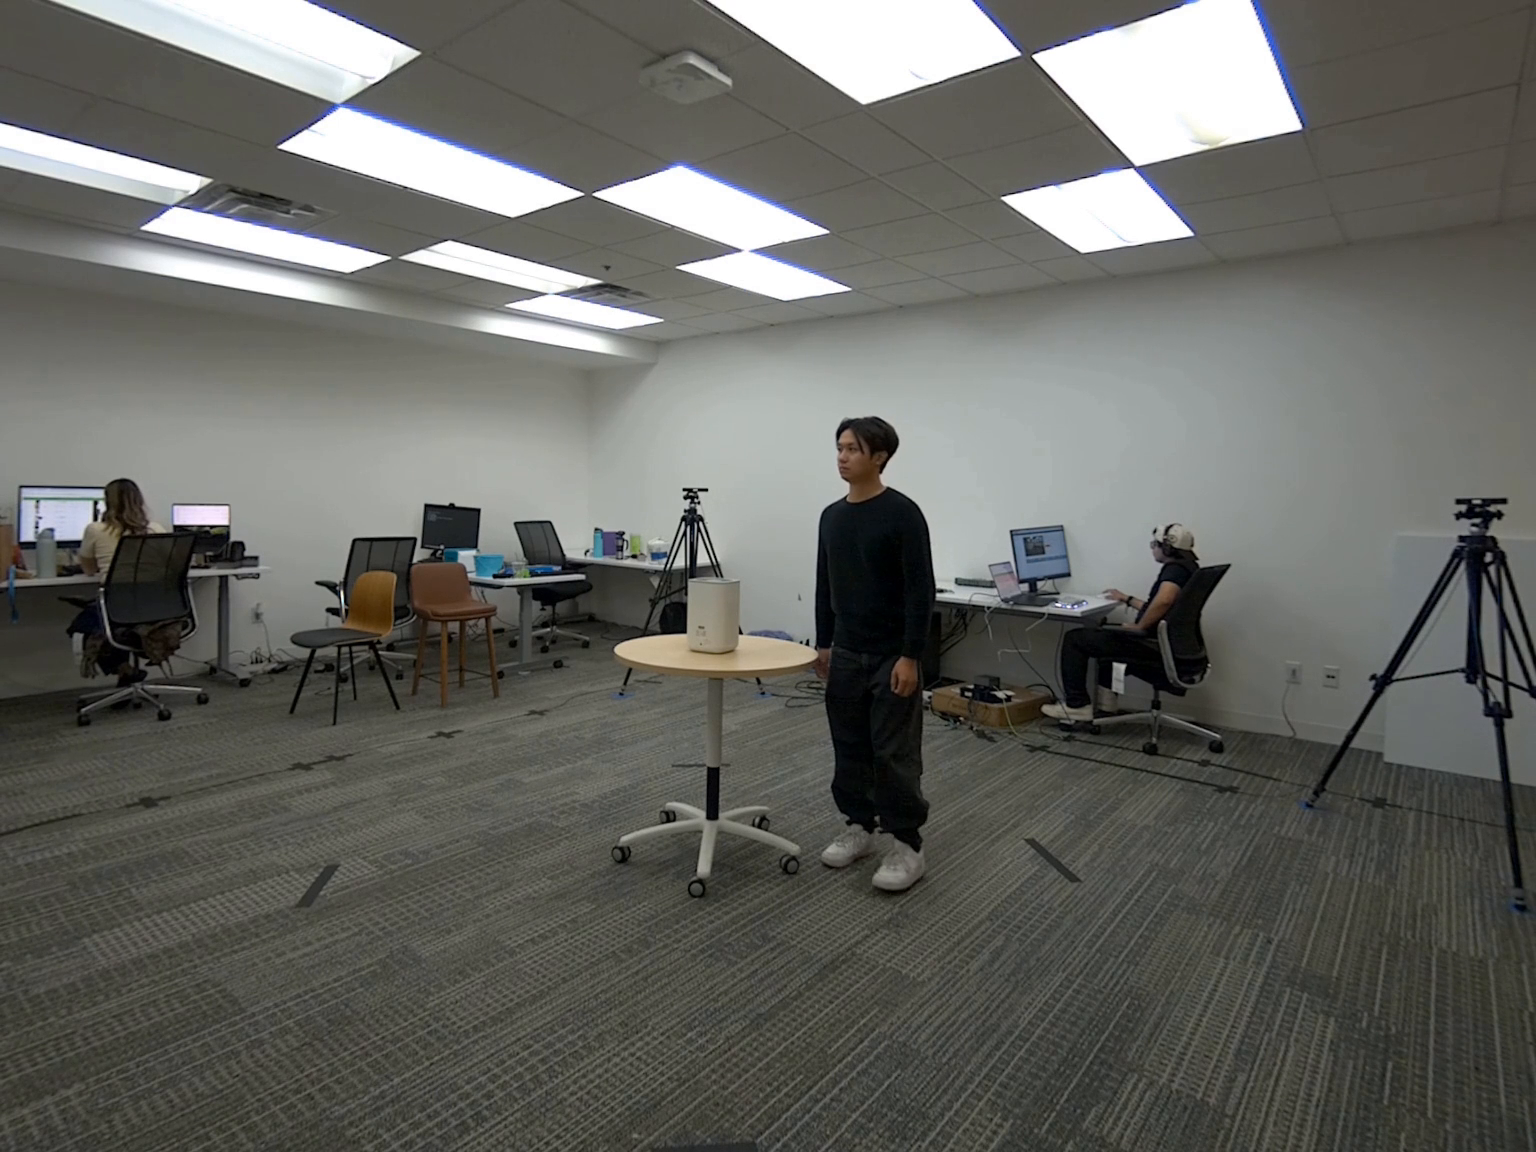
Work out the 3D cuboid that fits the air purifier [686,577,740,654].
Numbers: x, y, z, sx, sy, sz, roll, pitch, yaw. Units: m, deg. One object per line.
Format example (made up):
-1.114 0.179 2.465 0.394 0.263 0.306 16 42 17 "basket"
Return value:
-0.215 0.142 3.199 0.176 0.264 0.167 3 4 28 "air purifier"
